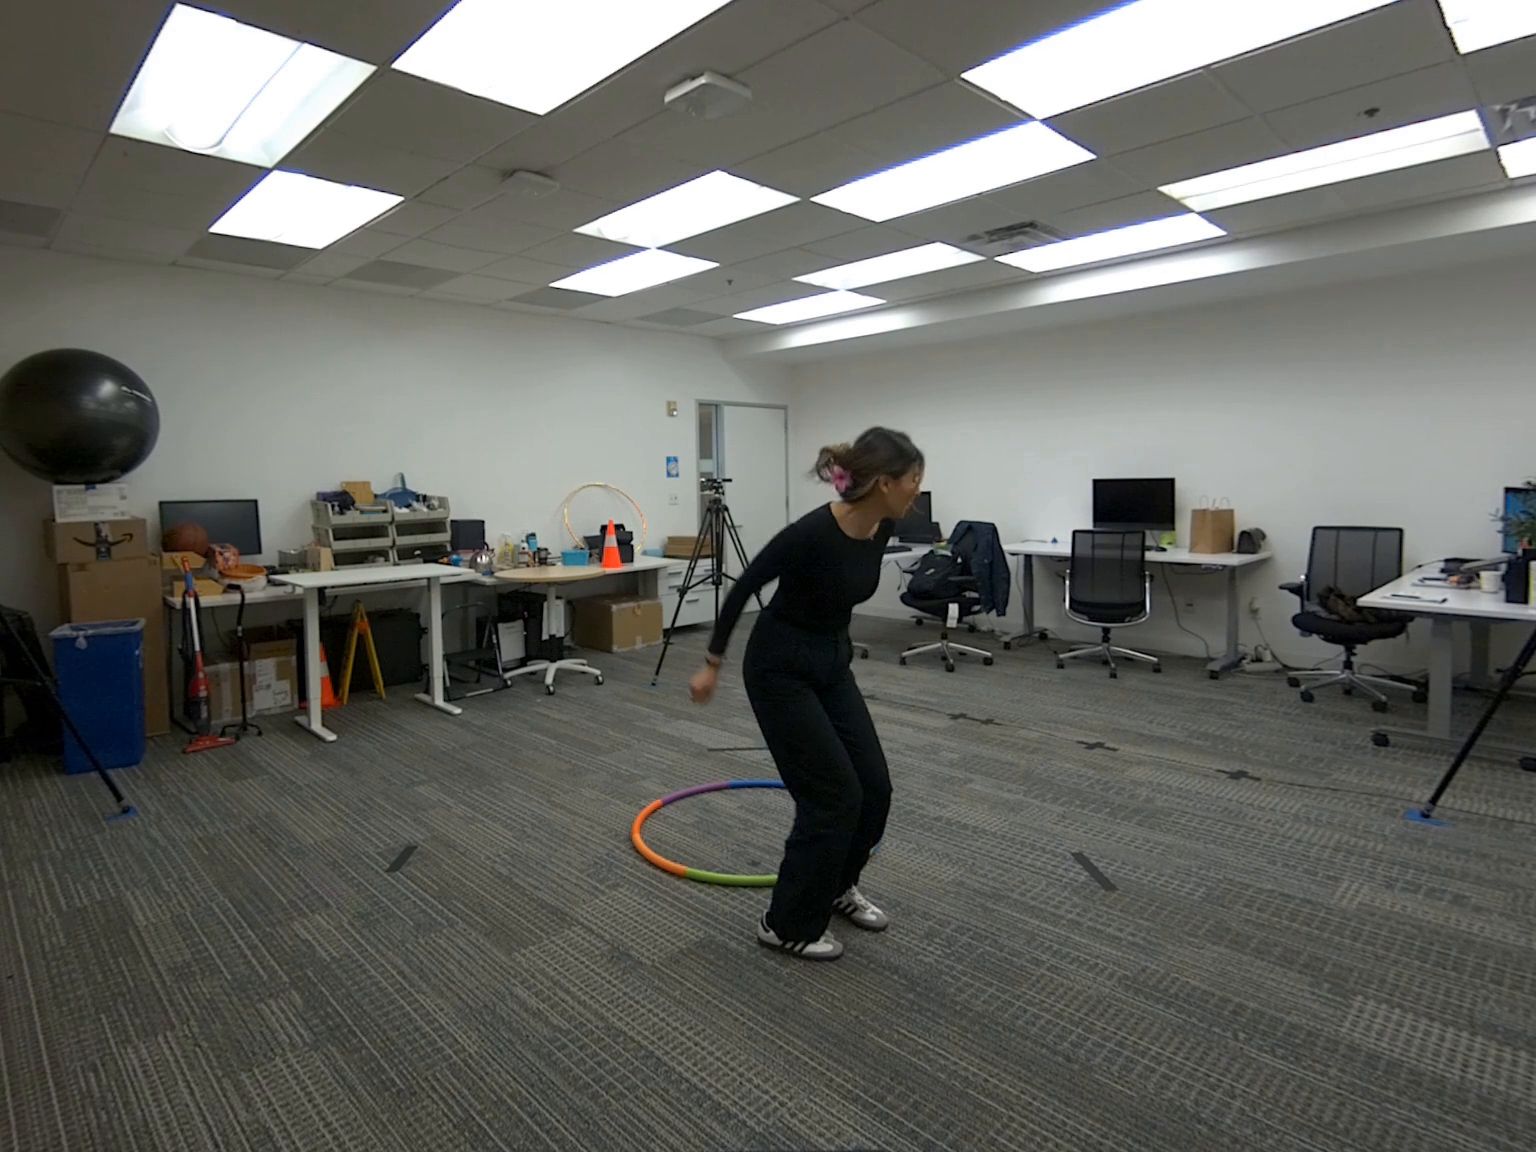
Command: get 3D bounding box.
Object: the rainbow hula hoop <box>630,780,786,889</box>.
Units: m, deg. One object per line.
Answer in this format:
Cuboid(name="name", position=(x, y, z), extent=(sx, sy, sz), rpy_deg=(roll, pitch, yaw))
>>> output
Cuboid(name="rainbow hula hoop", position=(-0.044, 0.981, 3.401), extent=(0.978, 0.035, 0.984), rpy_deg=(-1, 7, -2))
